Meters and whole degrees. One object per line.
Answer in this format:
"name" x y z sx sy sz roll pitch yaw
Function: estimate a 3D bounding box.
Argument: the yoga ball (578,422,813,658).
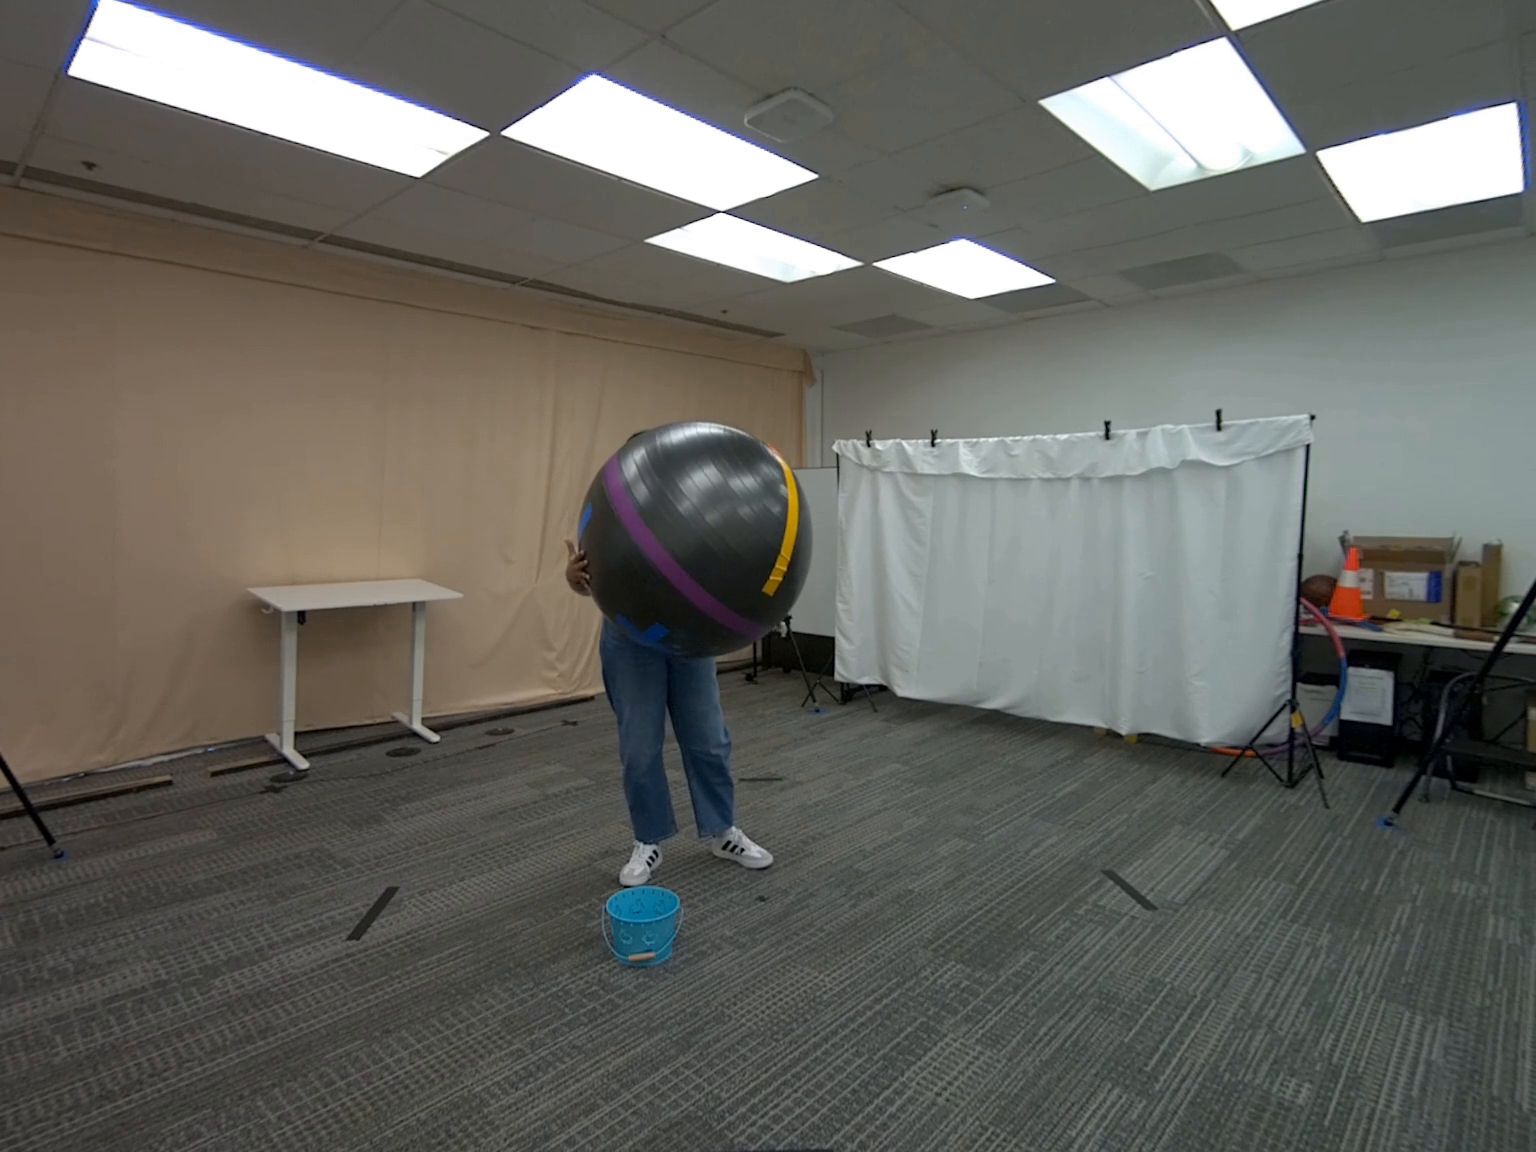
"yoga ball" -0.229 -0.115 2.711 0.757 0.756 0.761 0 4 -2
